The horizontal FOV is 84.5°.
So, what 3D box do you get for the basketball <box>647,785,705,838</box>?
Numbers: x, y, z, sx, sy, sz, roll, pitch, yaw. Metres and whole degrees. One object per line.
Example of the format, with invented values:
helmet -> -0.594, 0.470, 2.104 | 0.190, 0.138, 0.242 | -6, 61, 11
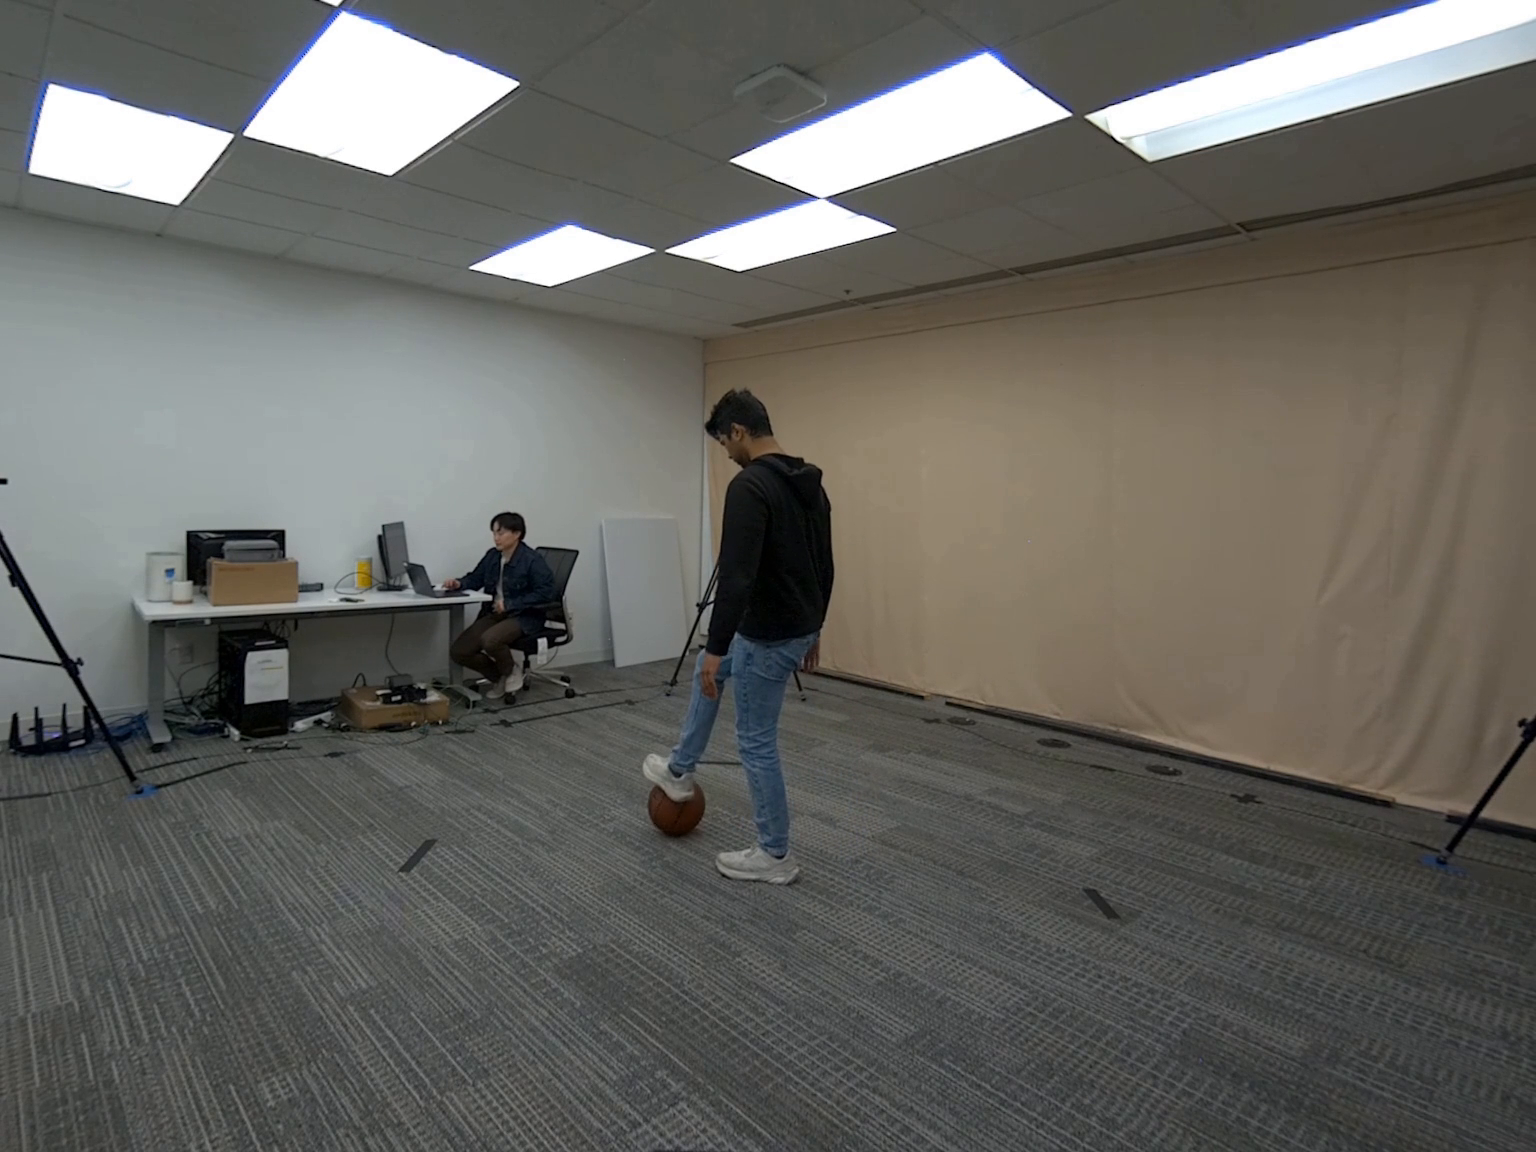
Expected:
basketball -> -0.374, 0.946, 3.494 | 0.236, 0.235, 0.237 | 1, 4, -1
